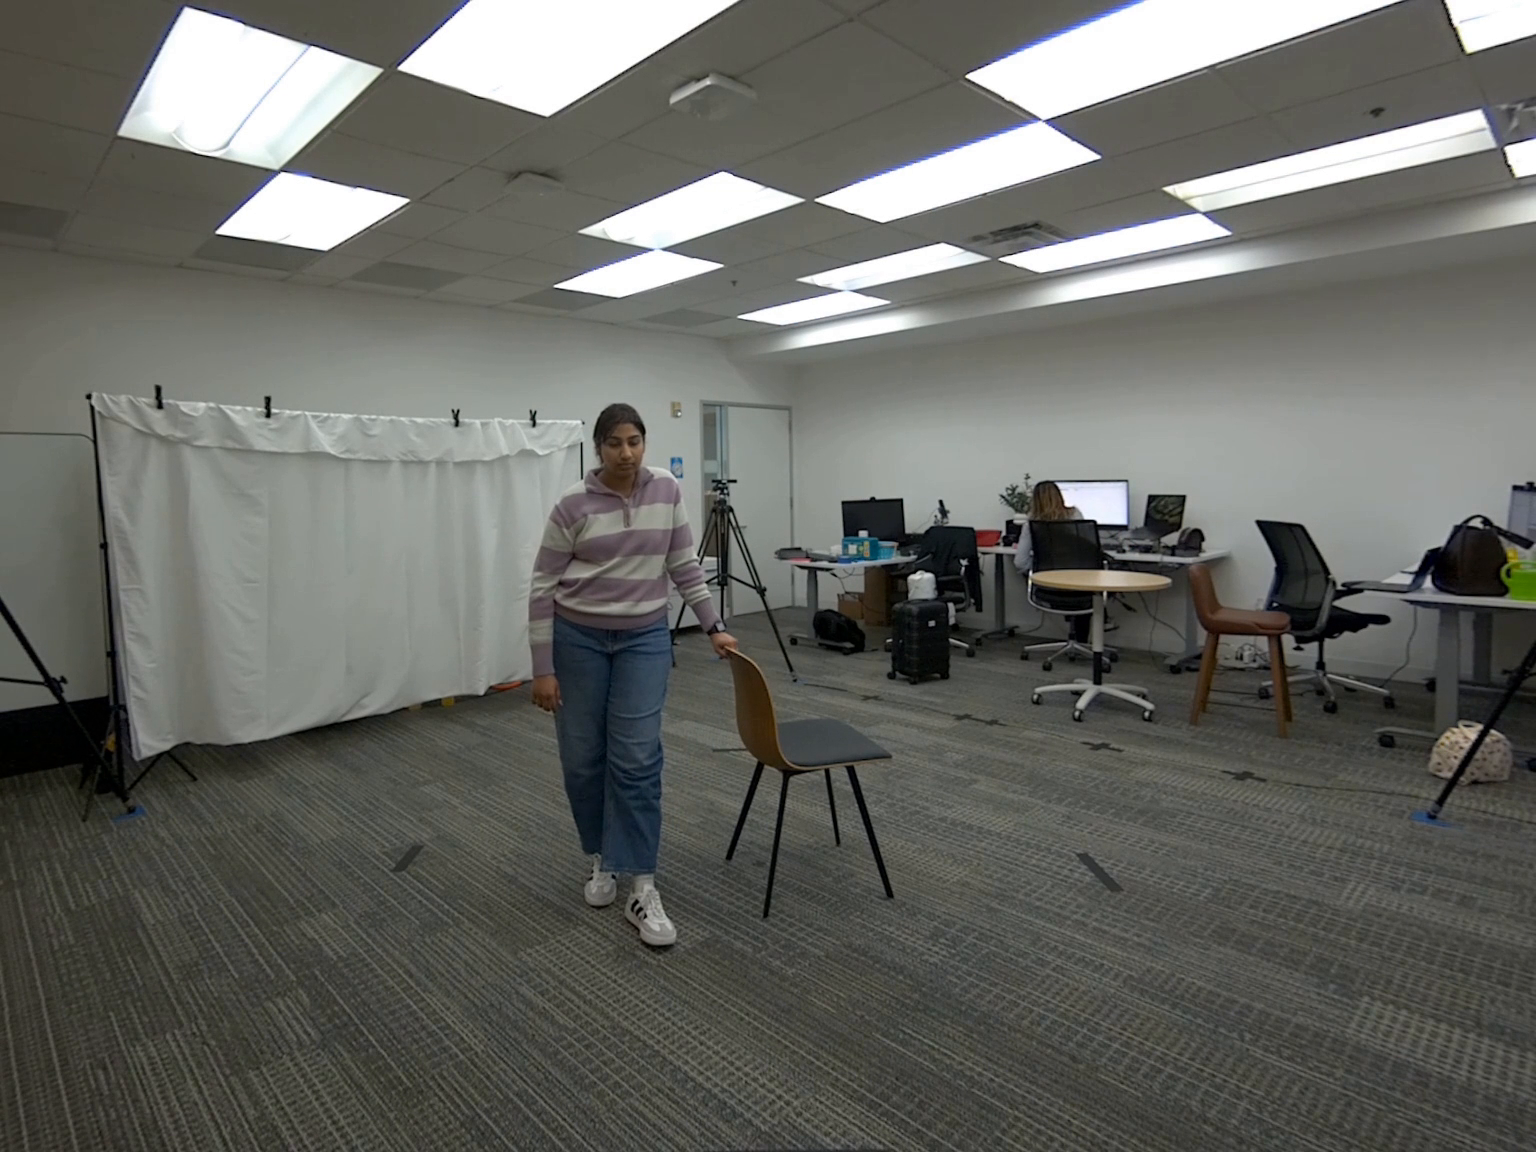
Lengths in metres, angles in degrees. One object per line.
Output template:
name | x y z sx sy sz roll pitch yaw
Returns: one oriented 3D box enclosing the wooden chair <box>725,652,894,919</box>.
wooden chair | 0.134 0.631 2.964 0.516 0.873 0.487 -7 5 -17
